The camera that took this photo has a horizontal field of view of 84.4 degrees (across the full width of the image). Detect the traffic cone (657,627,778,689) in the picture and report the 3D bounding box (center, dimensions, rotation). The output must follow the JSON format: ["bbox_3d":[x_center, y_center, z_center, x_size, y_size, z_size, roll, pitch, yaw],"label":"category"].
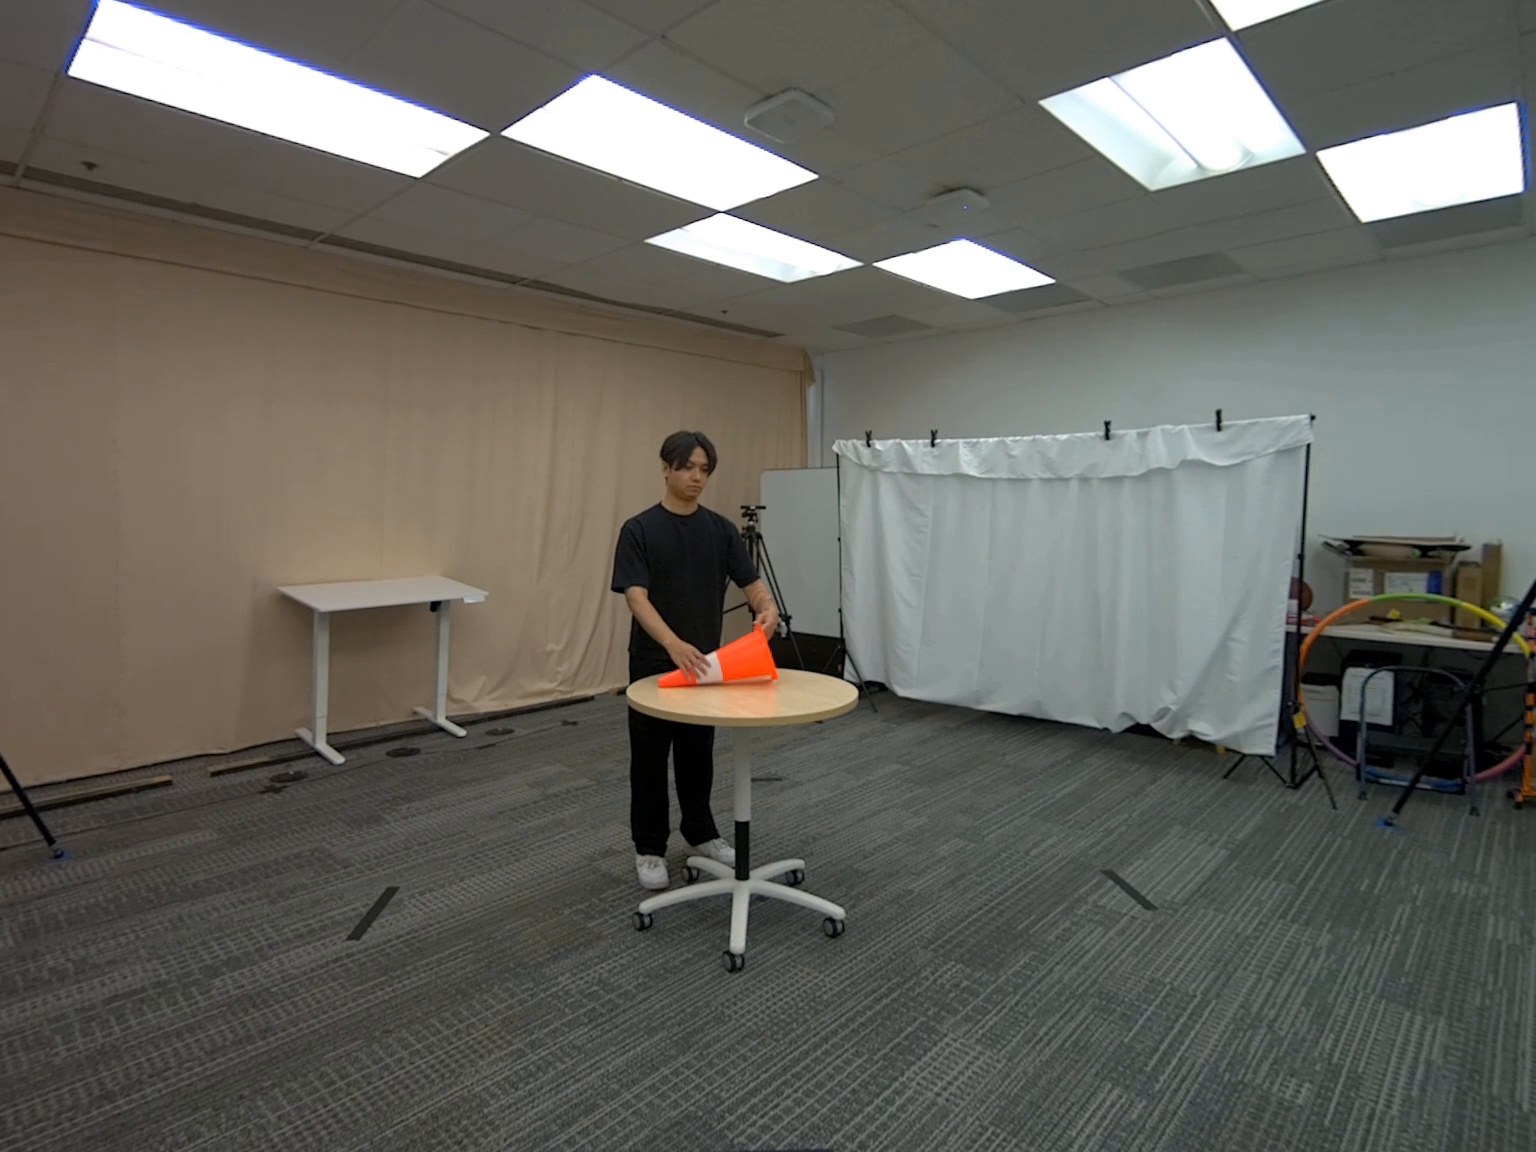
[{"bbox_3d":[-0.184,0.308,2.851,0.381,0.206,0.203,-15,-7,-9],"label":"traffic cone"}]
